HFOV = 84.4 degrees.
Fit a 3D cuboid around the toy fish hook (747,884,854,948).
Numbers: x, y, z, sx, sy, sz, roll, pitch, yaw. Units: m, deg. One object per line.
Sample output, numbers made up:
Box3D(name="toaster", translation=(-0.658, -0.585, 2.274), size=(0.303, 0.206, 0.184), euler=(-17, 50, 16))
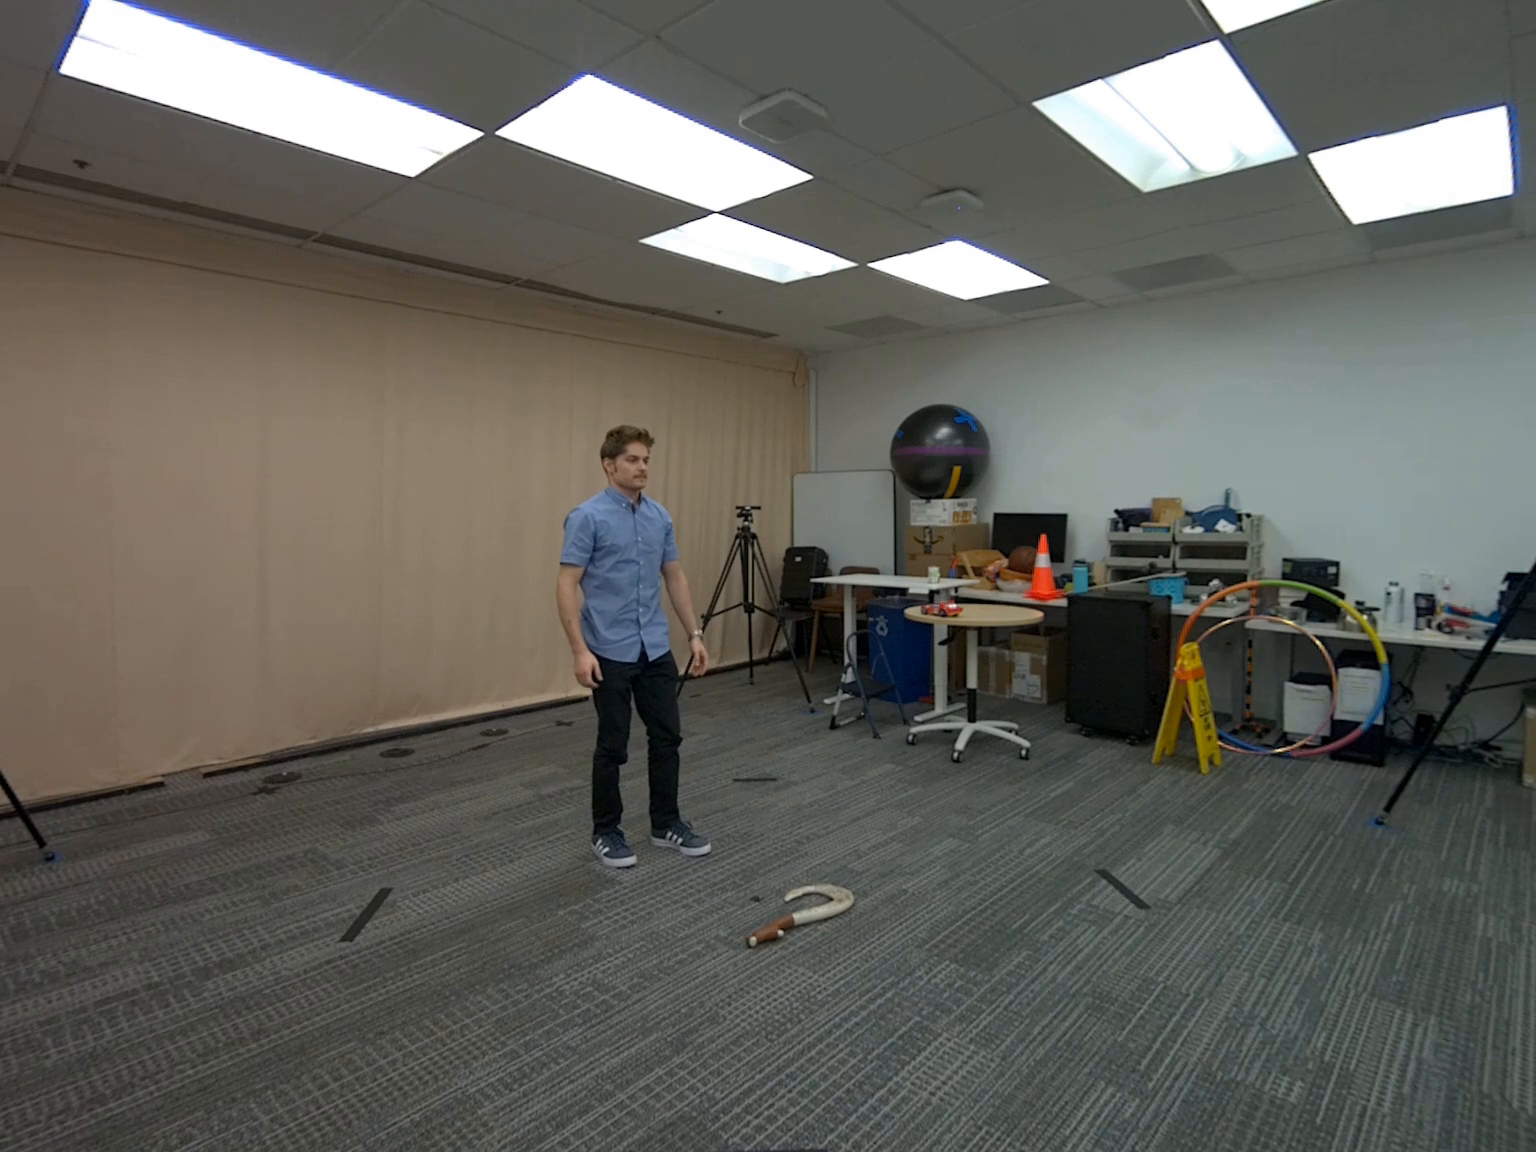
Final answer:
Box3D(name="toy fish hook", translation=(0.081, 1.140, 2.849), size=(0.491, 0.048, 0.231), euler=(-3, -2, -43))
